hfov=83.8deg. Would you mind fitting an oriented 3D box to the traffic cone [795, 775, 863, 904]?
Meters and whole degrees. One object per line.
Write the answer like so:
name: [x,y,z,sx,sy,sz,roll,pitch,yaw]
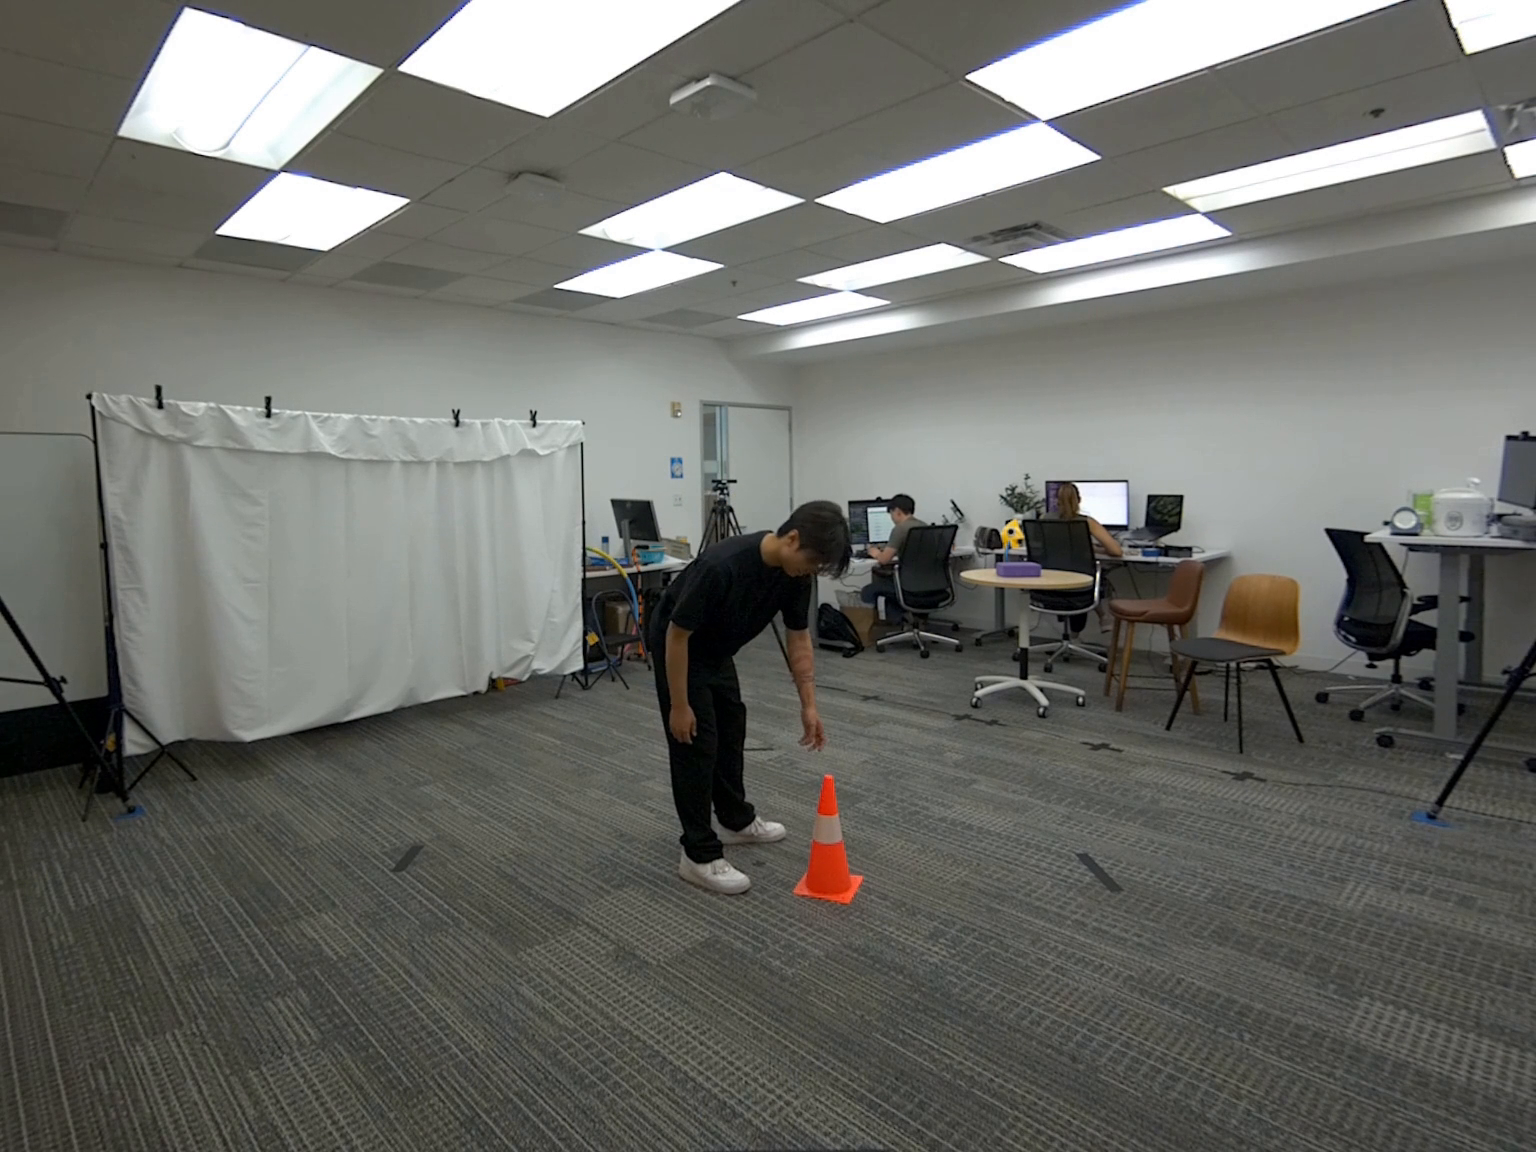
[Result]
traffic cone: [0.203,0.877,2.919,0.208,0.382,0.201,0,5,24]
